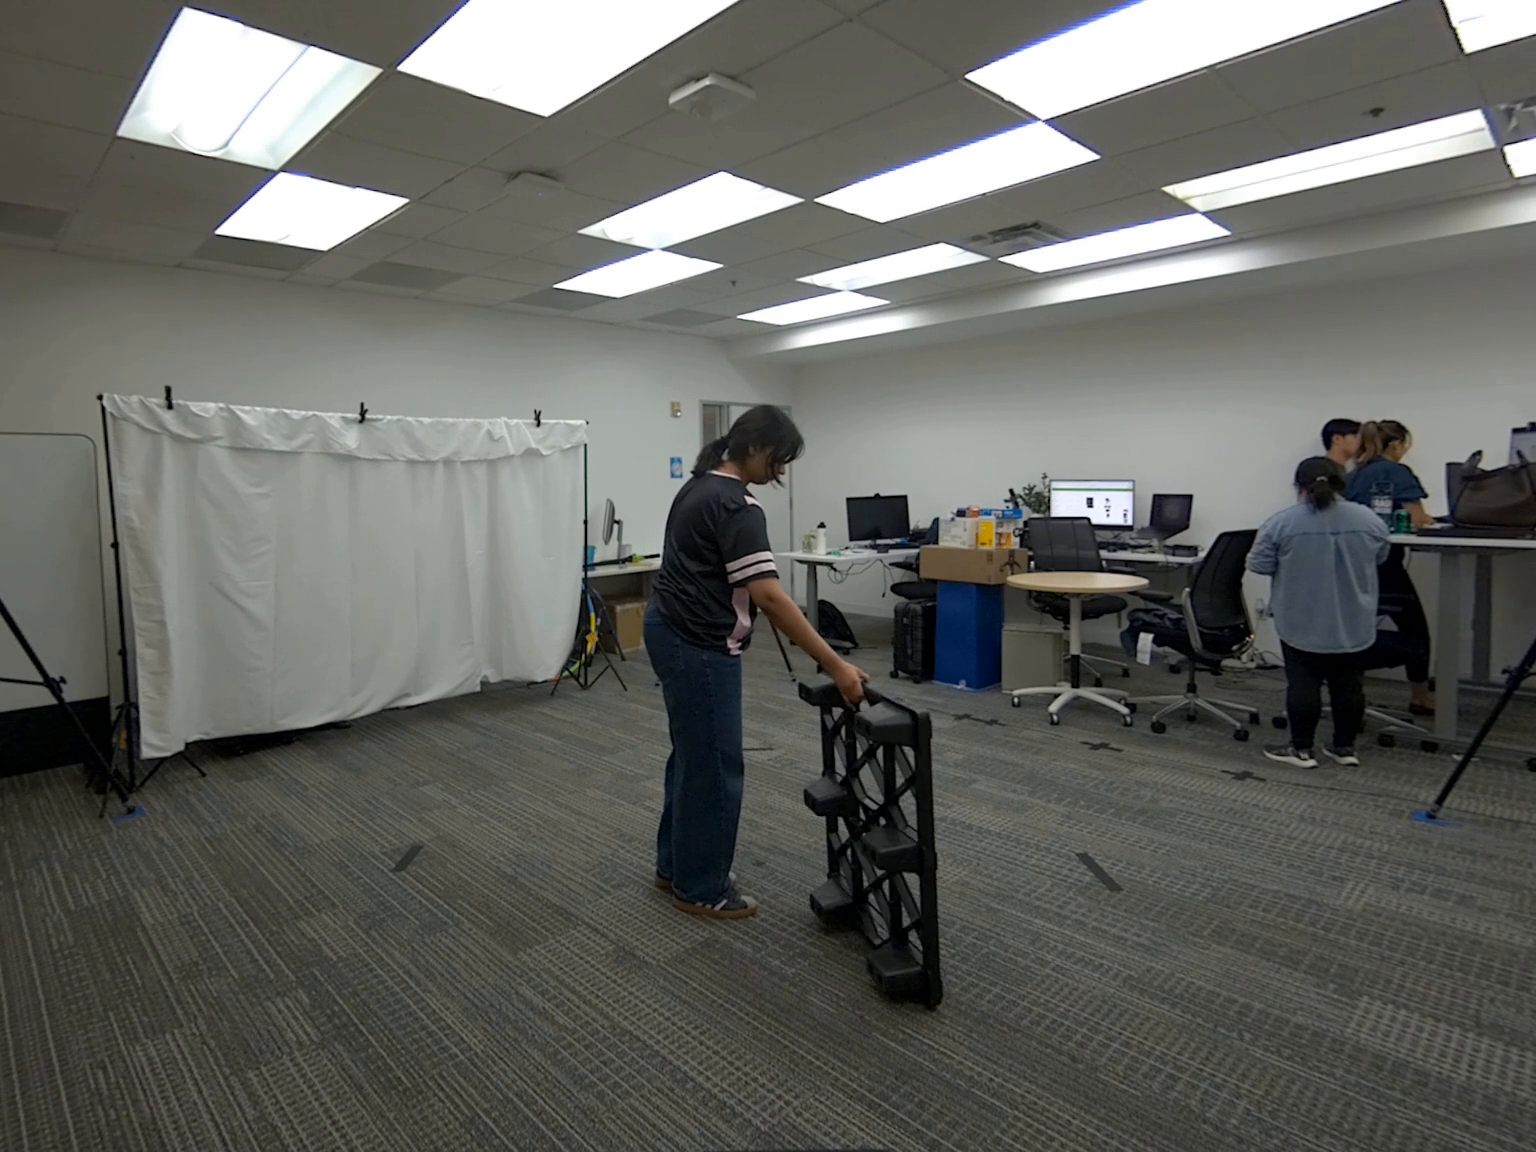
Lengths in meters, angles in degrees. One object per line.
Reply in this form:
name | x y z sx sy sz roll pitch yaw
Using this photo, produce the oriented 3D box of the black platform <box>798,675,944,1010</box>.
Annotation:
black platform | 0.271 0.706 2.460 0.141 0.801 0.618 -5 6 -20
